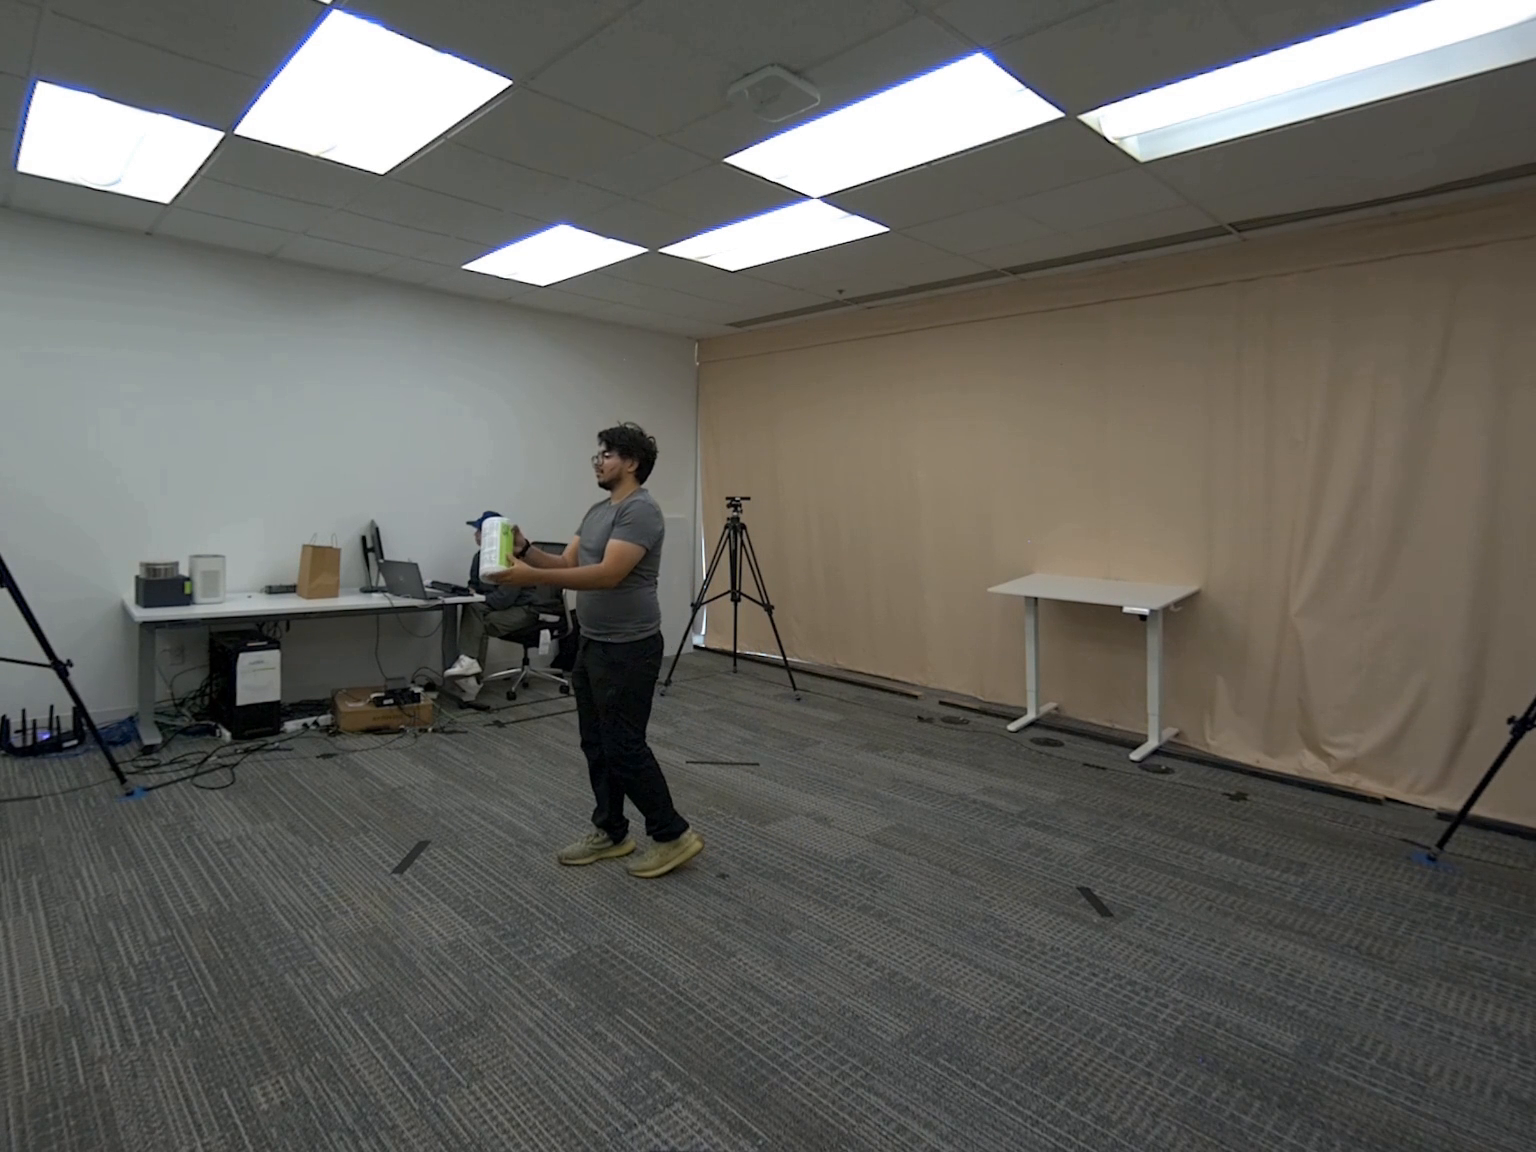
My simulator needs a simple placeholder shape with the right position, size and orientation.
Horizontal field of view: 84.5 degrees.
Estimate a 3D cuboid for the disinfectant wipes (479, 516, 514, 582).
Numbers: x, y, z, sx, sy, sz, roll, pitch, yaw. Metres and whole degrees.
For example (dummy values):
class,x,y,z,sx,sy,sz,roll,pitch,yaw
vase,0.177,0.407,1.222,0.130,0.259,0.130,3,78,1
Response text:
class,x,y,z,sx,sy,sz,roll,pitch,yaw
disinfectant wipes,-0.952,-0.091,2.948,0.117,0.221,0.116,-3,-24,-3
